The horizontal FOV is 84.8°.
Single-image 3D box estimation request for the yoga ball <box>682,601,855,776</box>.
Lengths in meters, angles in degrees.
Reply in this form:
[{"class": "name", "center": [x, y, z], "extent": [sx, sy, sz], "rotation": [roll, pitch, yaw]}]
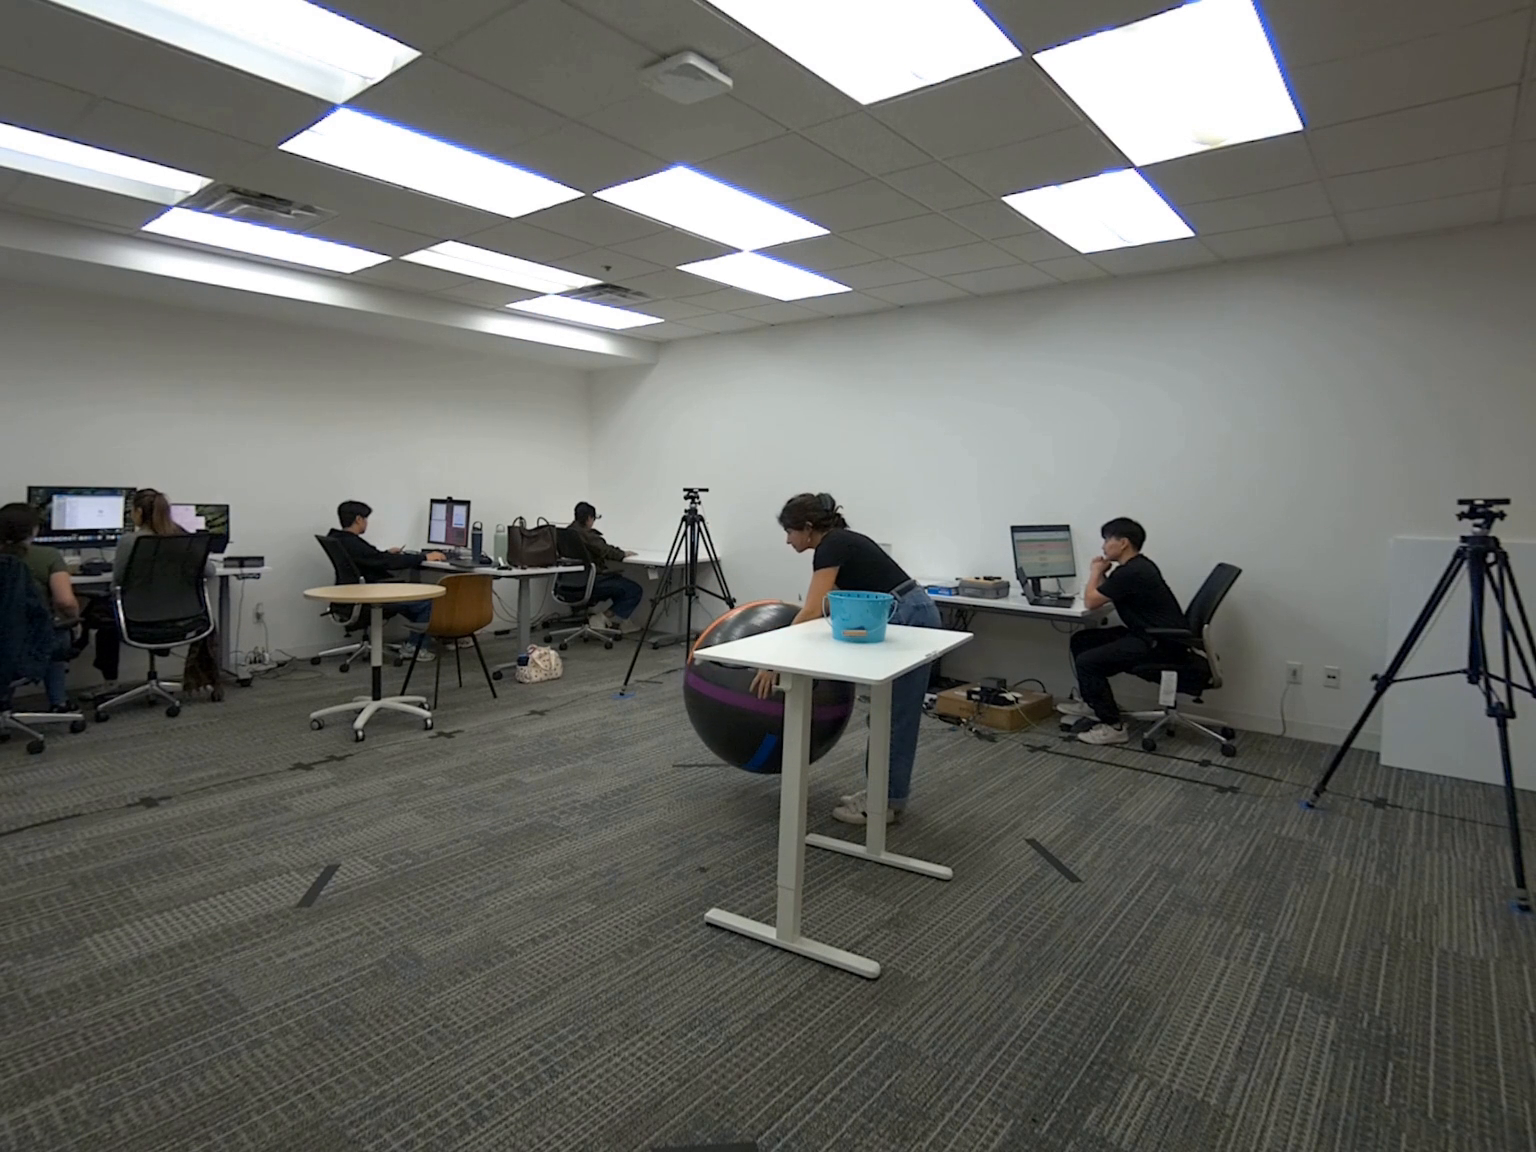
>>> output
[{"class": "yoga ball", "center": [-0.002, 0.496, 3.808], "extent": [0.757, 0.756, 0.762], "rotation": [1, 4, -2]}]
